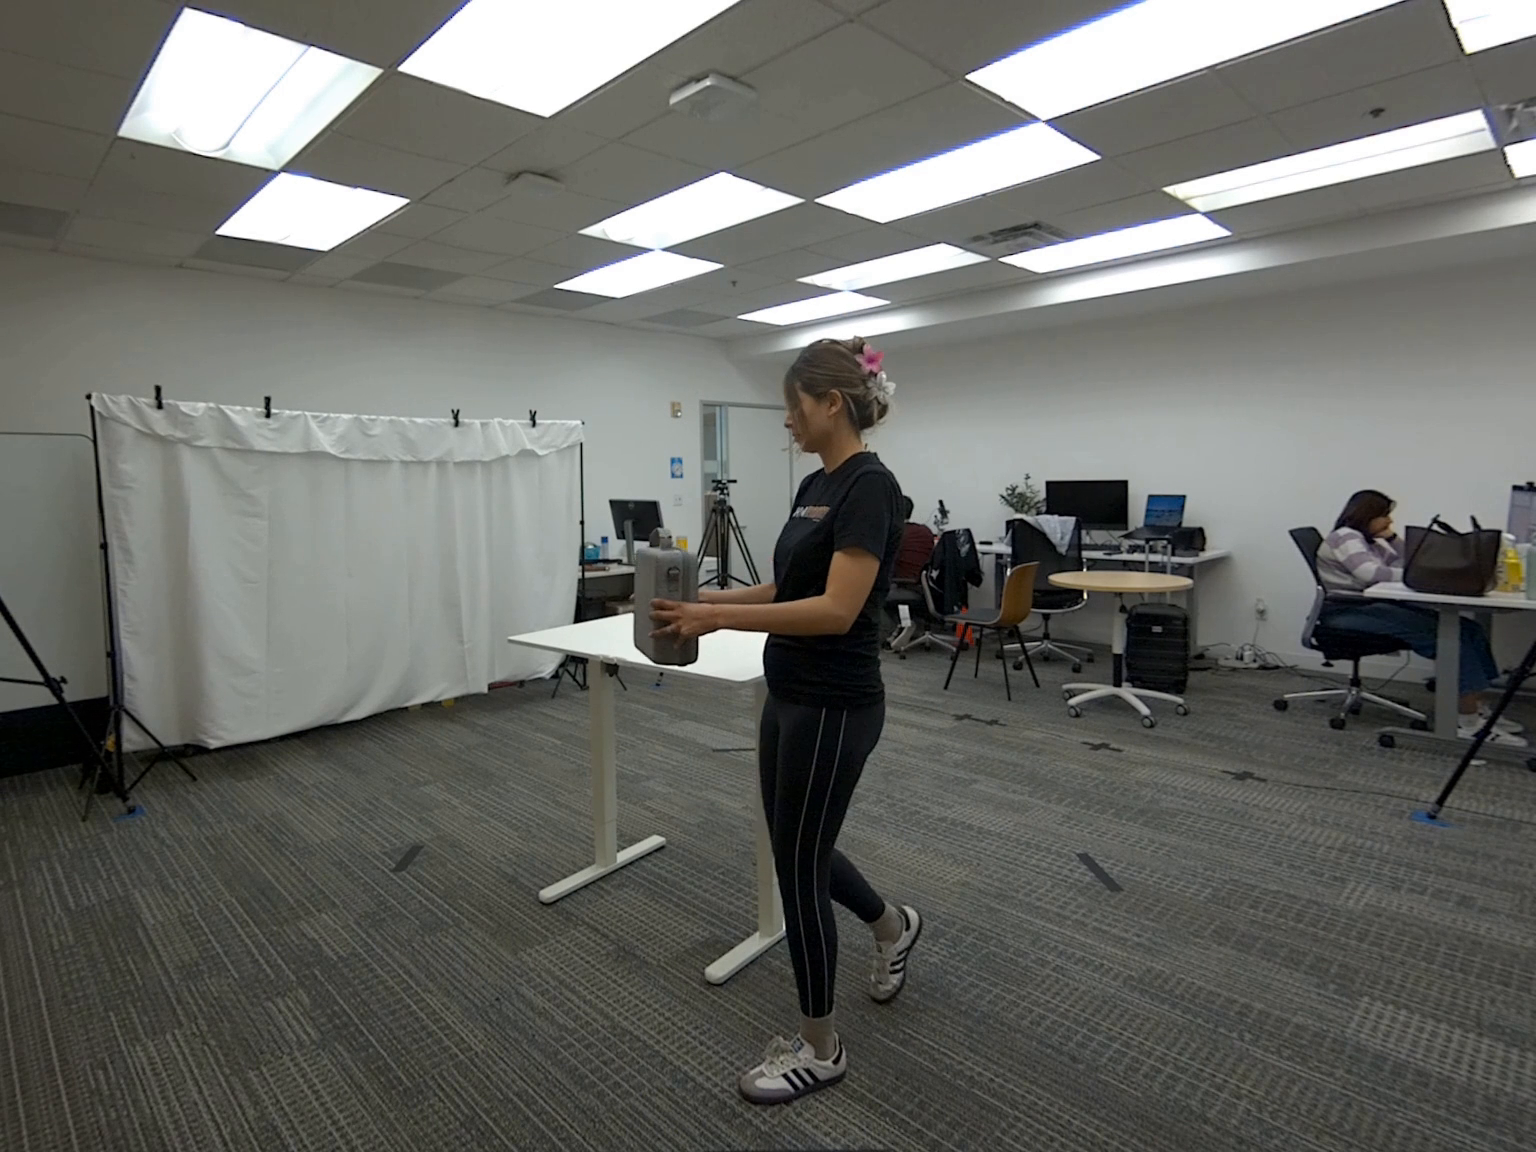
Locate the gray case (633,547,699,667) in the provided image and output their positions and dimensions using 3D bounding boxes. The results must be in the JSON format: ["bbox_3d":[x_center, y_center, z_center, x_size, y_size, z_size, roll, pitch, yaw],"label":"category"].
[{"bbox_3d":[-0.220,0.058,1.933,0.102,0.260,0.261,0,2,-19],"label":"gray case"}]
